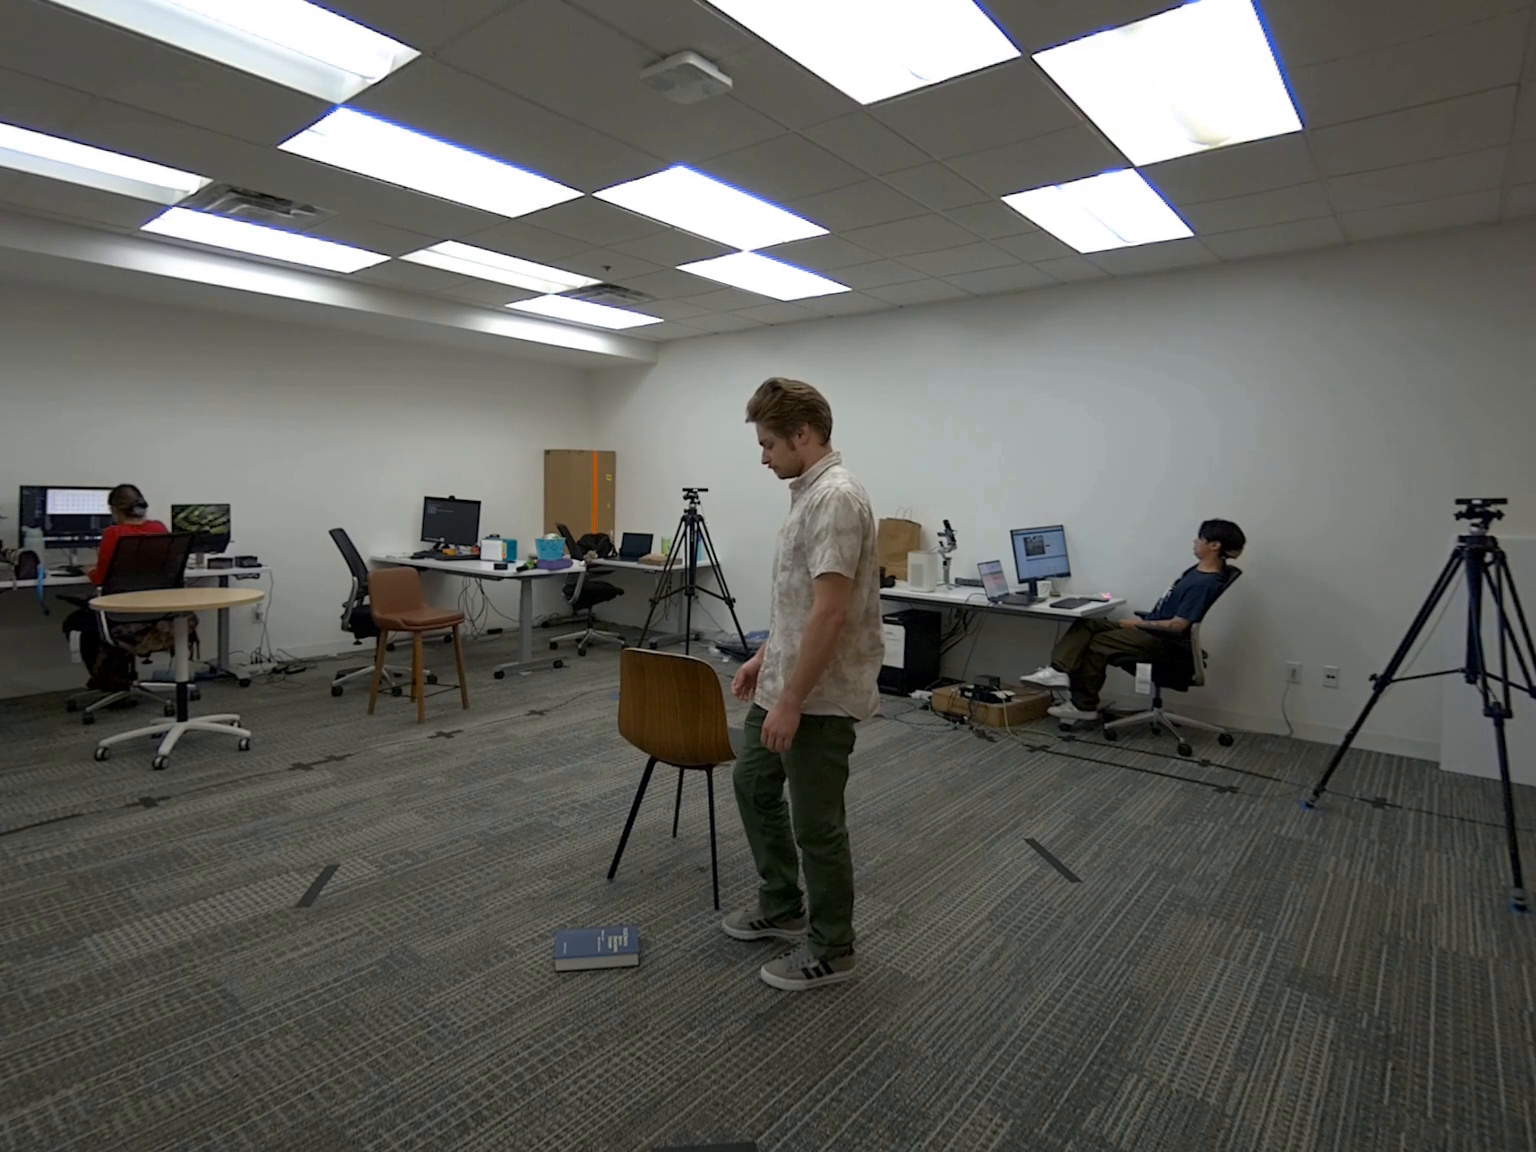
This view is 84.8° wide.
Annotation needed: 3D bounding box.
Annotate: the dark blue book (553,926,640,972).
[{"bbox_3d":[-0.517,1.100,2.520,0.243,0.045,0.166,0,6,-10],"label":"dark blue book"}]
